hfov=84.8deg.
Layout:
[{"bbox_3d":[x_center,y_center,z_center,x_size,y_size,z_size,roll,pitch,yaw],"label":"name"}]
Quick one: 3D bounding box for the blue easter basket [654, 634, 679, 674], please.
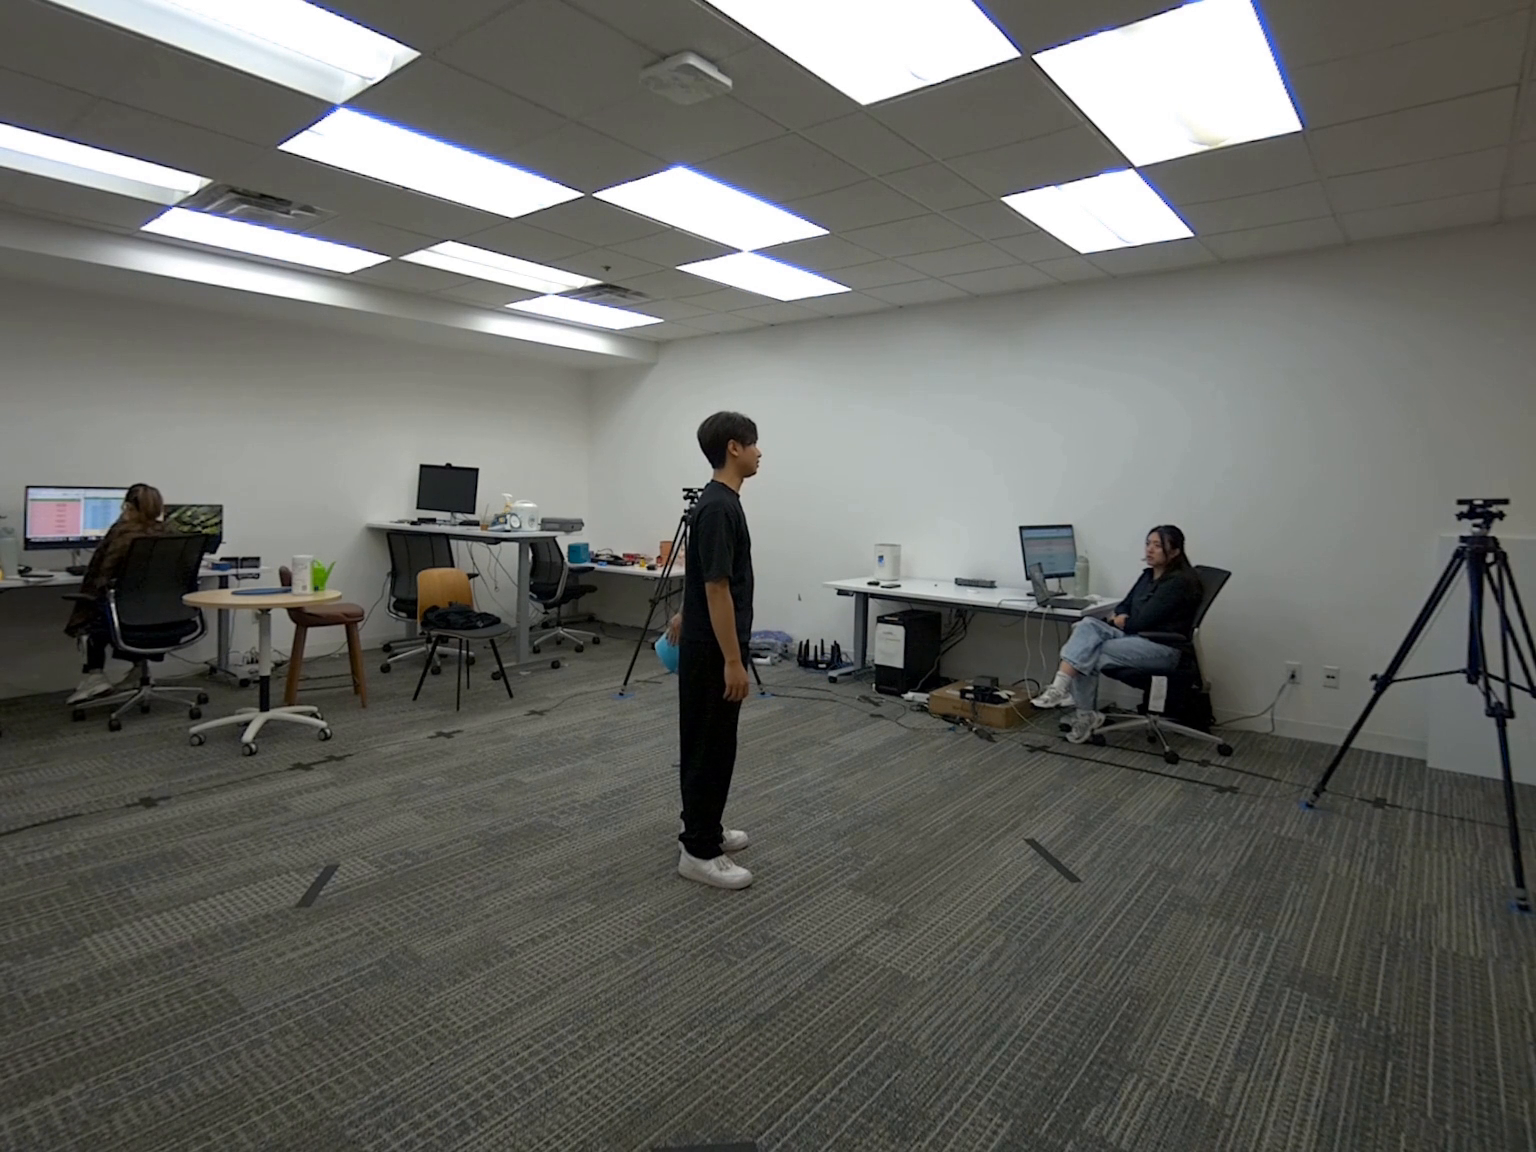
[{"bbox_3d":[-0.367,0.319,3.658,0.156,0.247,0.240,-42,-8,14],"label":"blue easter basket"}]
